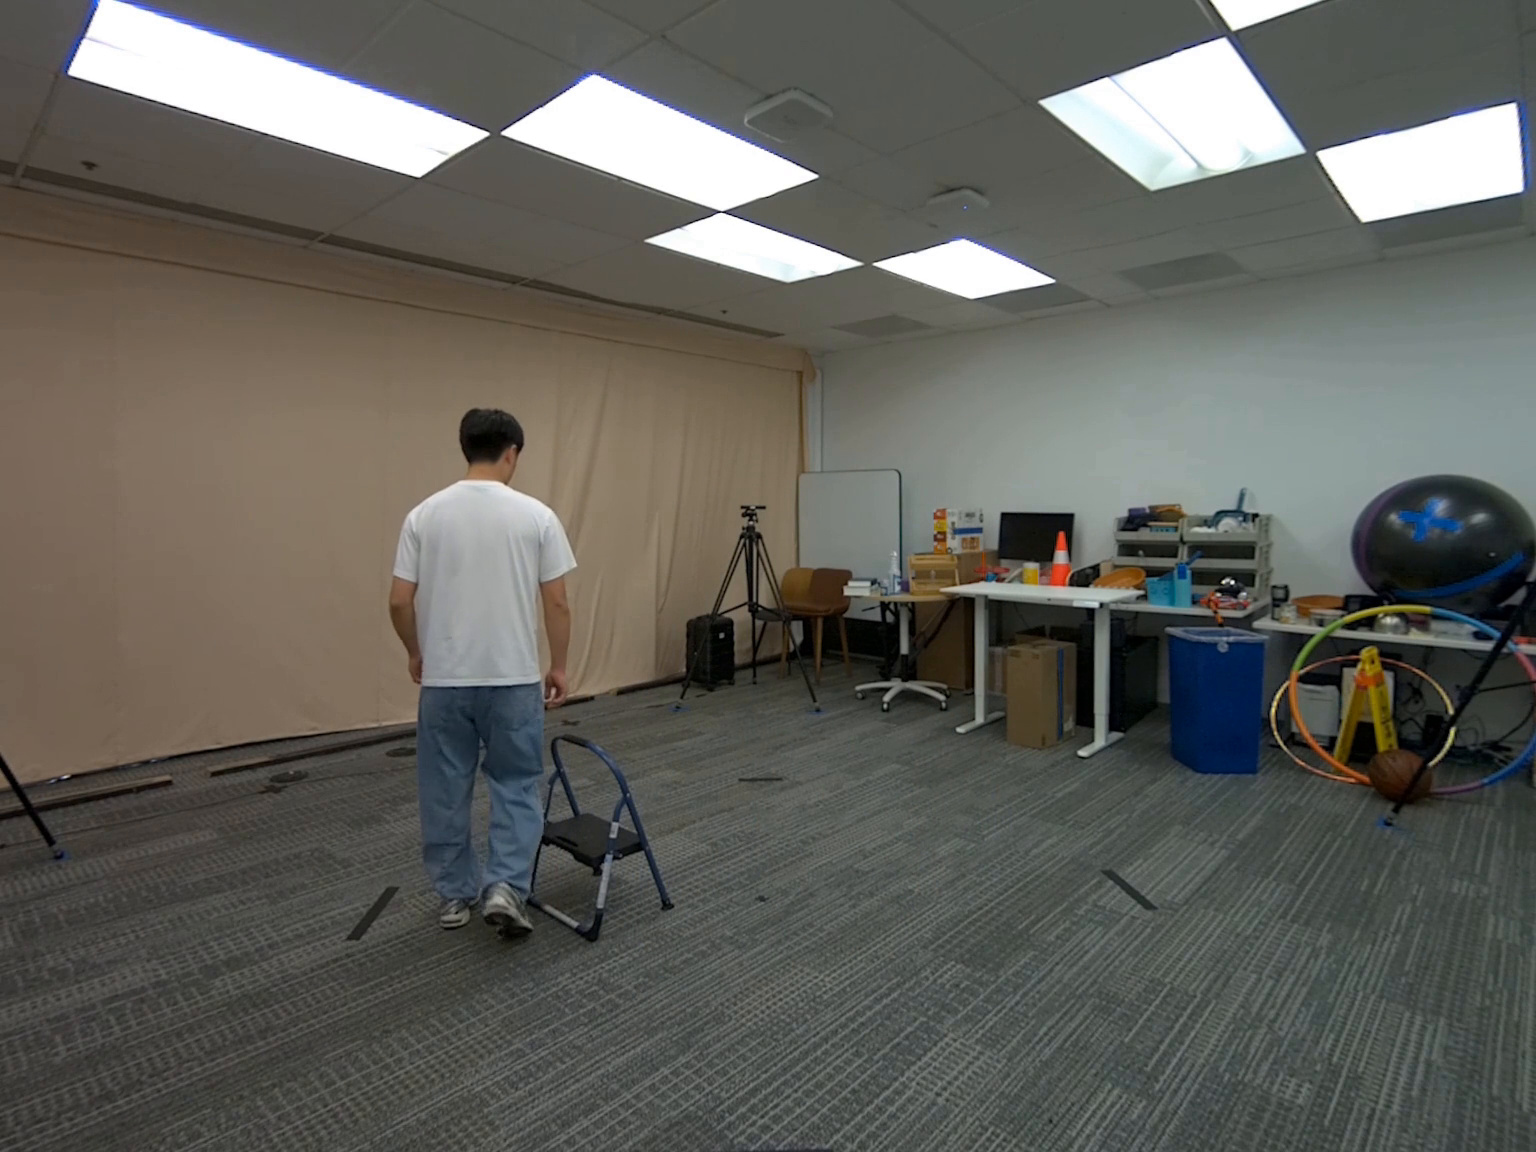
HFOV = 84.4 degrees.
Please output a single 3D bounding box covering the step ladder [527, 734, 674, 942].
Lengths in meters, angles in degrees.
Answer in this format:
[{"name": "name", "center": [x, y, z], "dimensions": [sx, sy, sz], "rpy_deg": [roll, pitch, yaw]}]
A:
[{"name": "step ladder", "center": [-0.600, 0.852, 2.930], "dimensions": [0.445, 0.605, 0.338], "rpy_deg": [2, 4, 43]}]
